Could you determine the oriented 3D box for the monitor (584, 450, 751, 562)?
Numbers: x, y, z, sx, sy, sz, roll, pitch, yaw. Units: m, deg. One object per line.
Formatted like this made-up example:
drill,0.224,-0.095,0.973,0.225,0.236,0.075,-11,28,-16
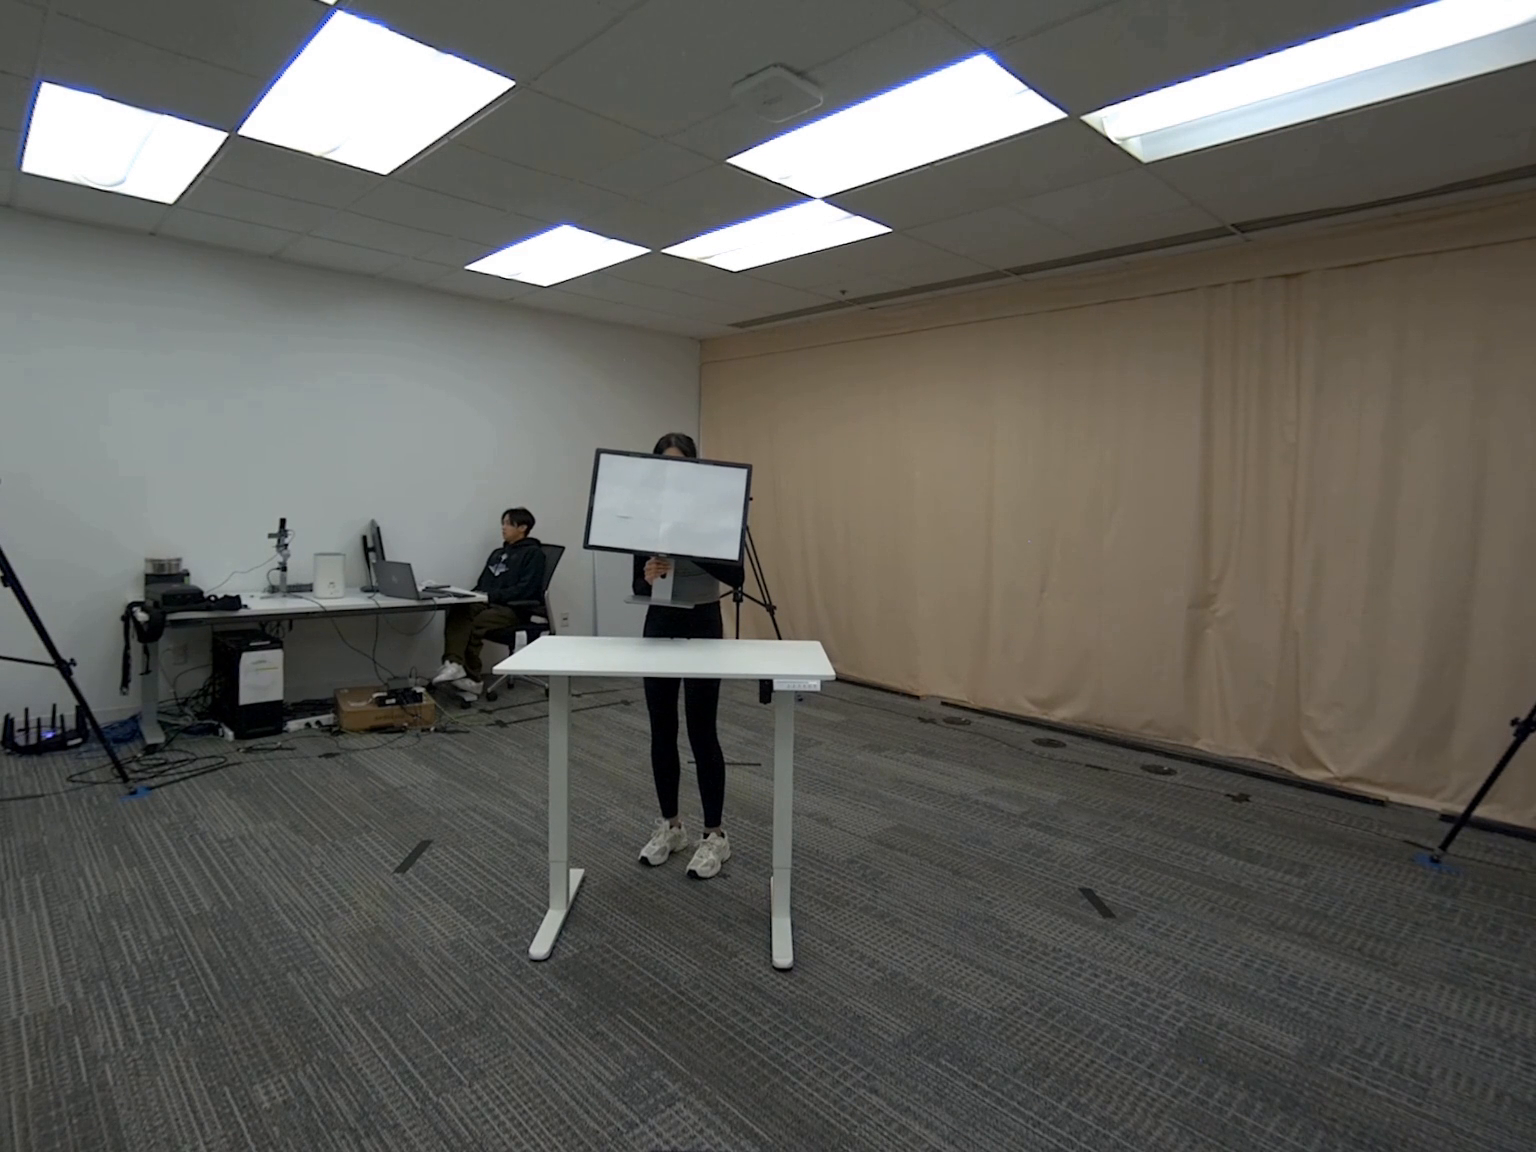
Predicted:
monitor,-0.370,-0.162,2.991,0.538,0.521,0.188,5,4,-2
